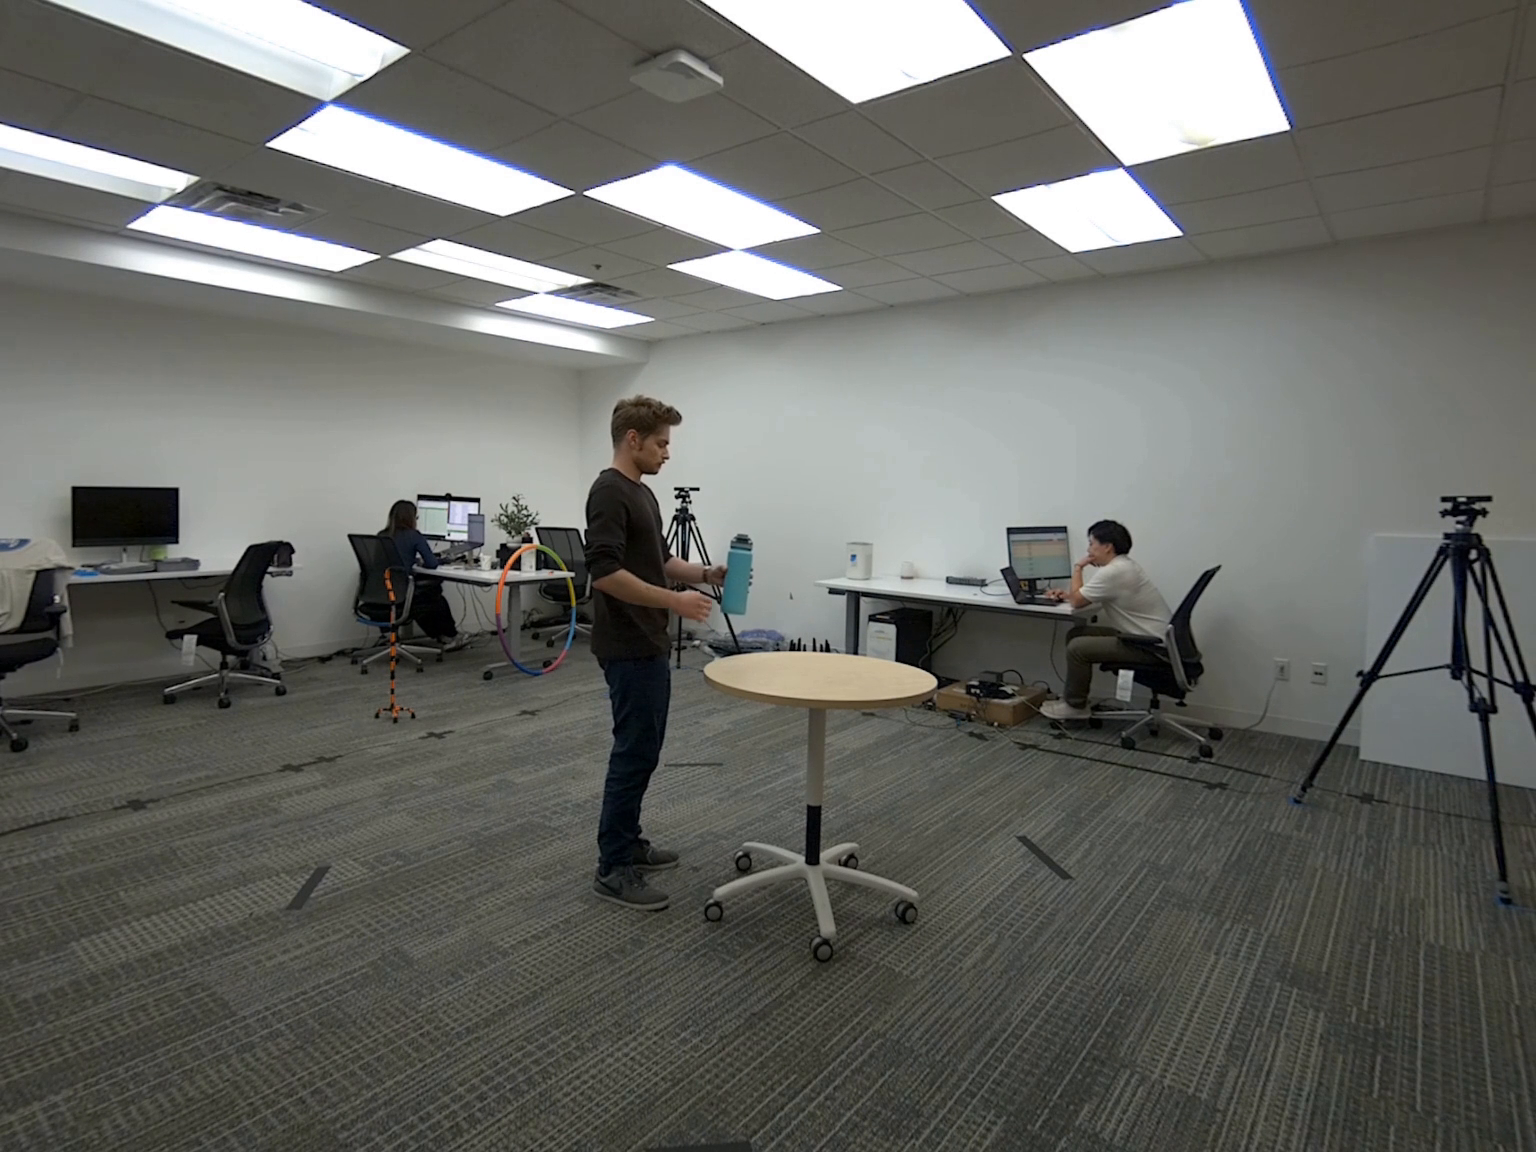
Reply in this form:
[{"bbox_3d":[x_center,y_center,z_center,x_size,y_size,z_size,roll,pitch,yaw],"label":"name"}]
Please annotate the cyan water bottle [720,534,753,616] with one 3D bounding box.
[{"bbox_3d":[-0.118,-0.009,3.000,0.092,0.284,0.092,7,-2,-2],"label":"cyan water bottle"}]
